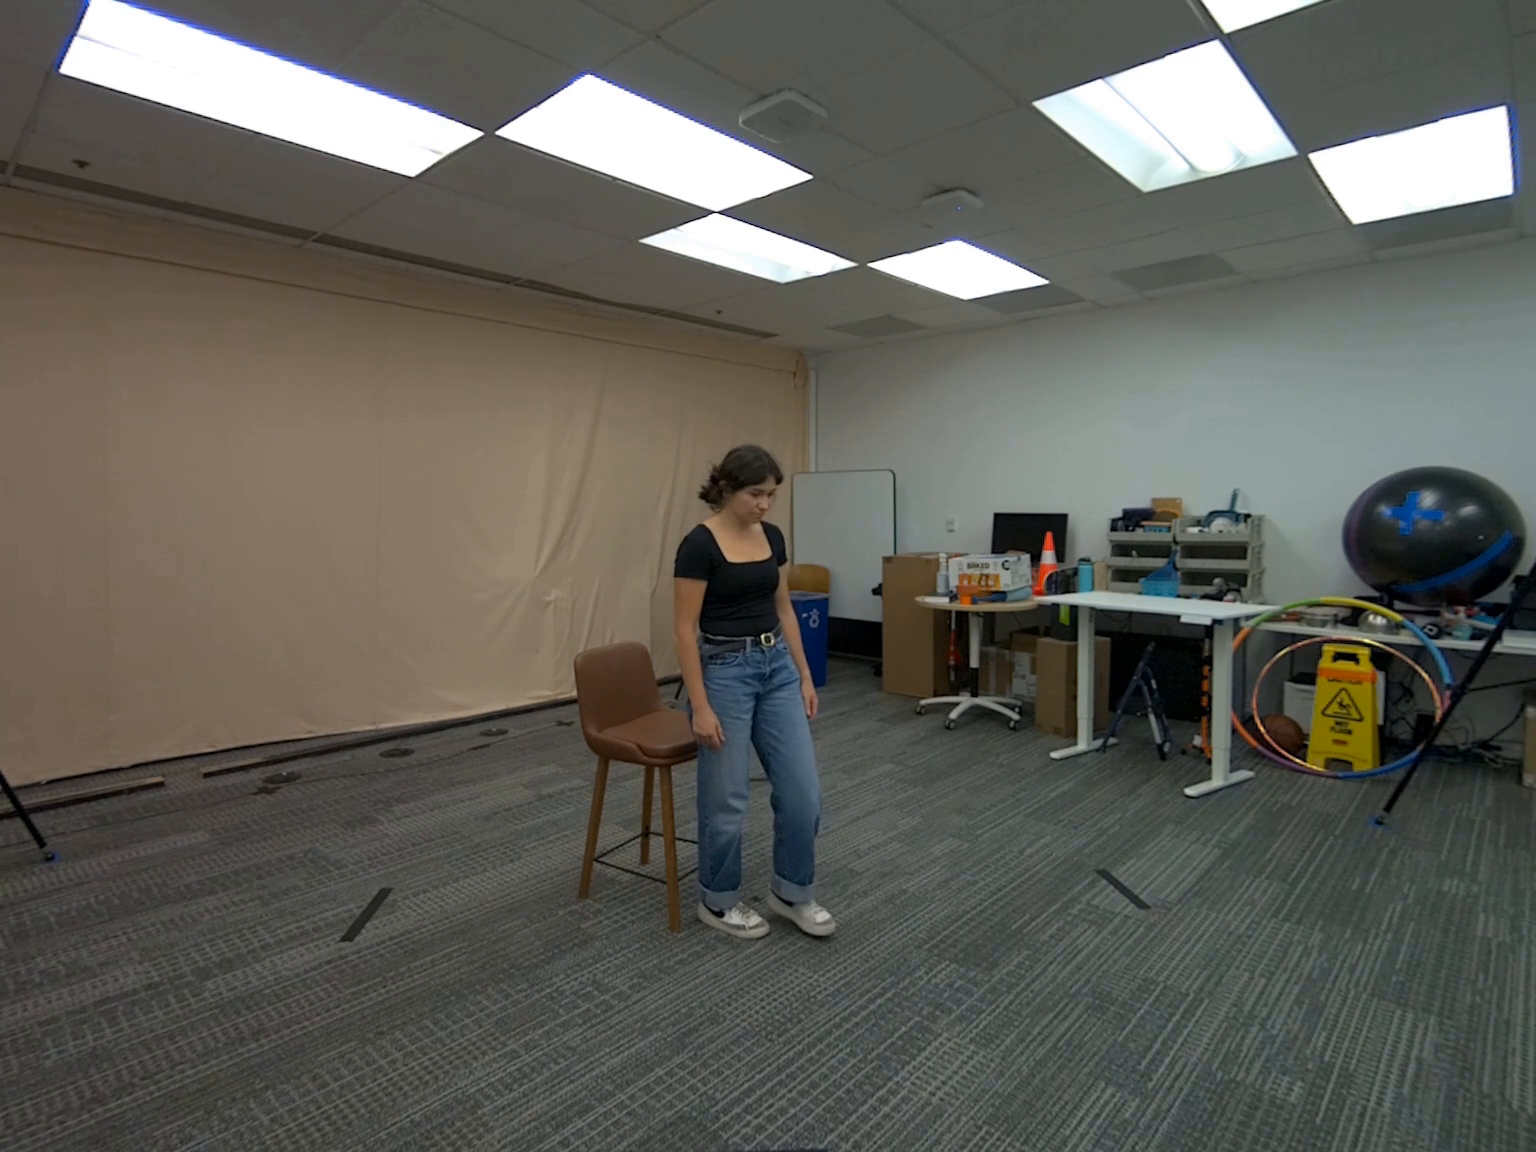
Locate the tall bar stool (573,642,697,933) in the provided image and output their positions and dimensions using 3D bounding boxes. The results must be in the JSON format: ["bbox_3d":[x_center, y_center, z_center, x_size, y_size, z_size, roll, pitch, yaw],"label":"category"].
[{"bbox_3d":[-0.398,0.711,3.019,0.481,0.888,0.444,0,2,33],"label":"tall bar stool"}]
